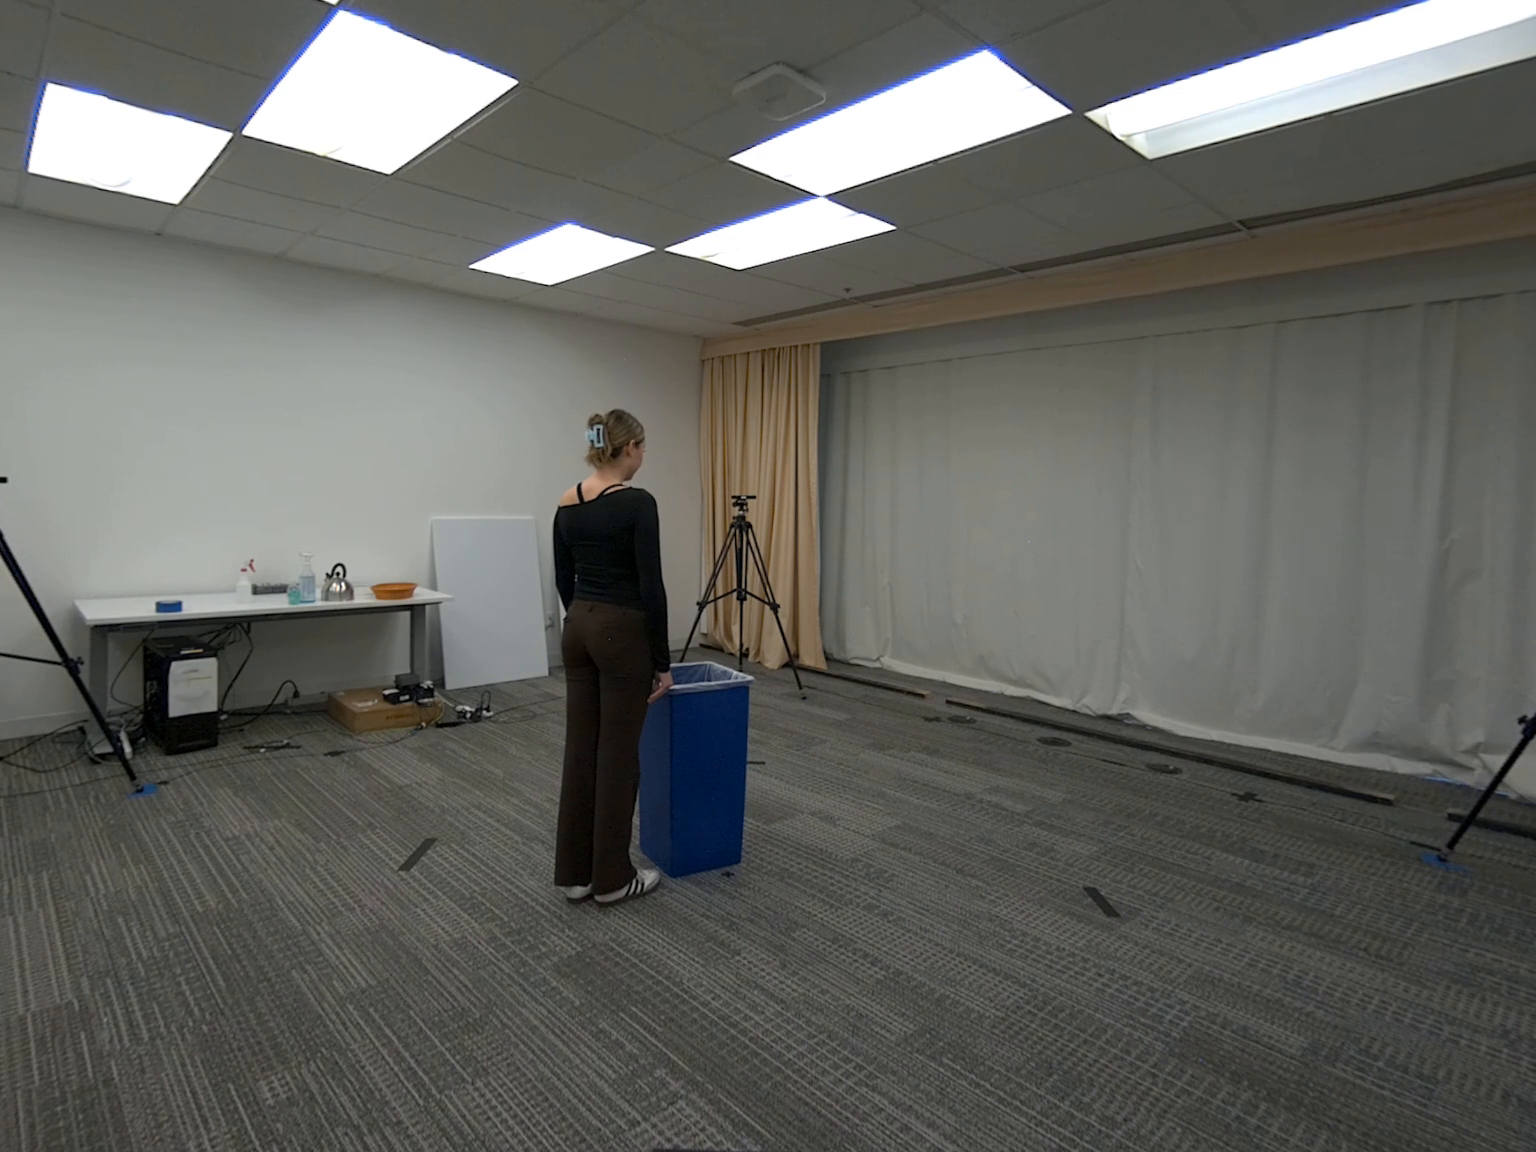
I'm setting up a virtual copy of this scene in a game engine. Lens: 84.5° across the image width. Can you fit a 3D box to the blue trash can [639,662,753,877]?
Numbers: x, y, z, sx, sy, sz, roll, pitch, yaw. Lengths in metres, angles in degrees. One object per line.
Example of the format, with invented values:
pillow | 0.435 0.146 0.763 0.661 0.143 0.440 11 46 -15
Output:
blue trash can | -0.304 0.729 3.233 0.366 0.712 0.387 -1 4 -32
